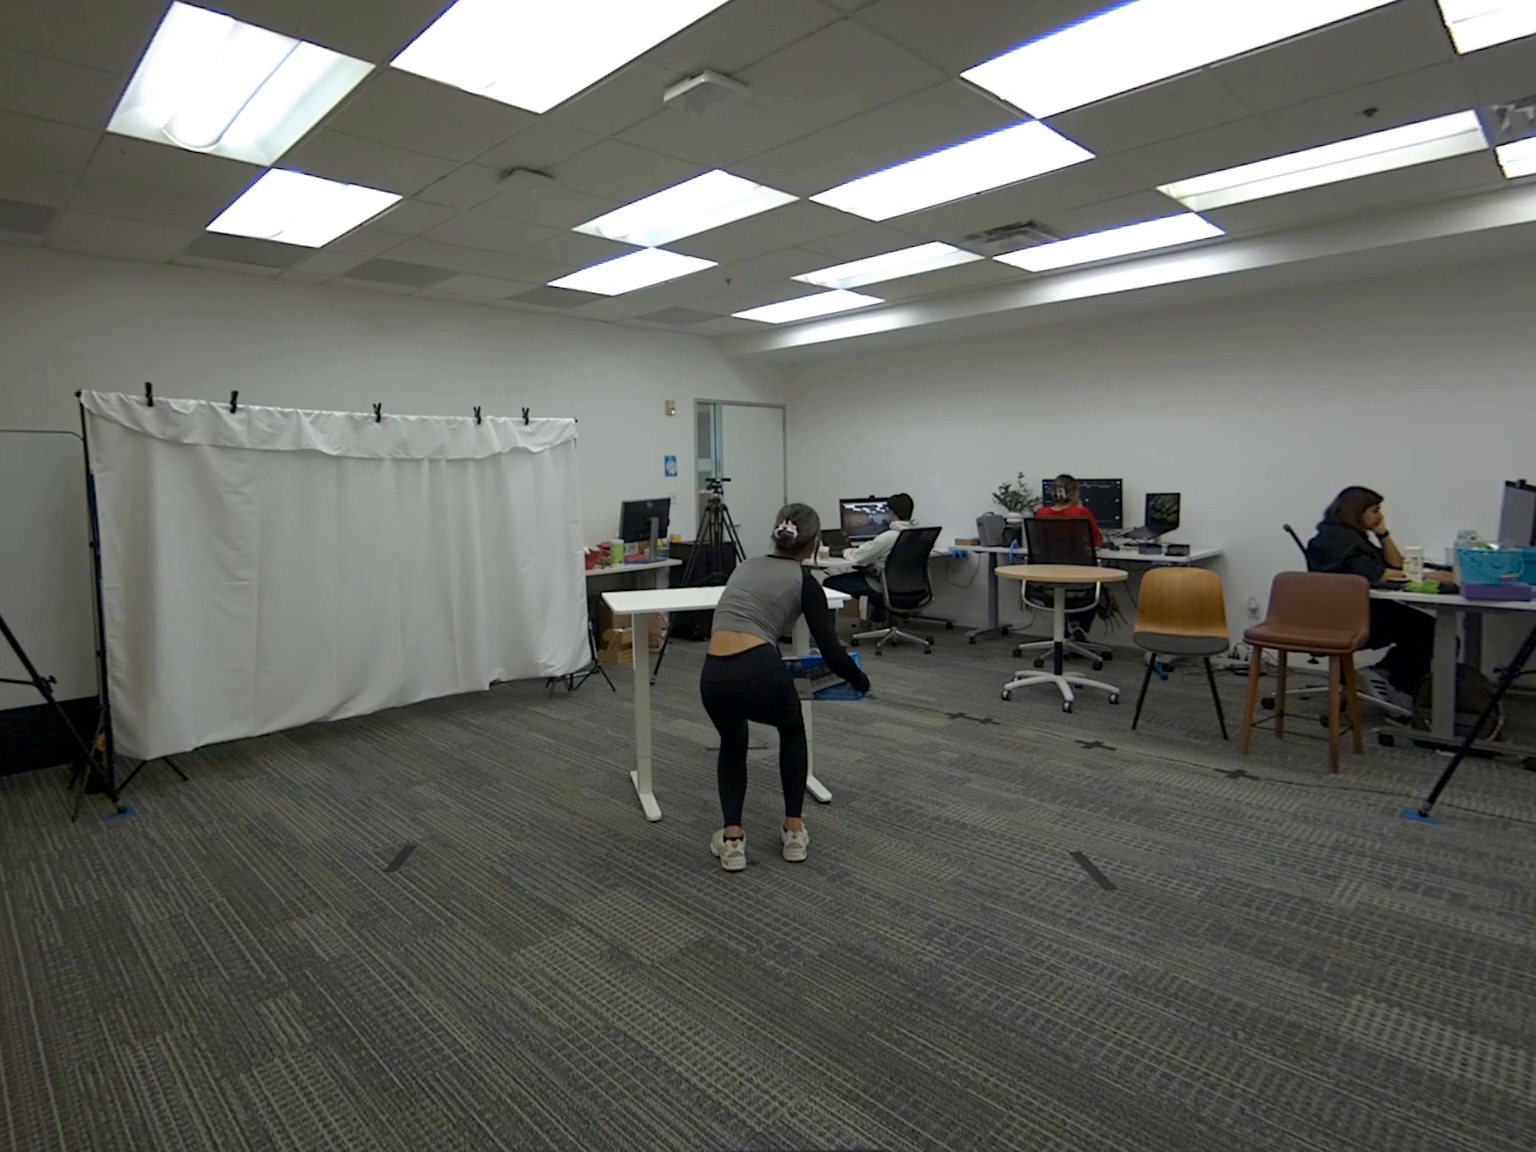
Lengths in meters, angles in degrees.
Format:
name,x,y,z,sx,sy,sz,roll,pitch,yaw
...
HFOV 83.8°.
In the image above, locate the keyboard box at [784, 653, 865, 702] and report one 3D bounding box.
name,x,y,z,sx,sy,sz,roll,pitch,yaw
keyboard box,0.203,0.414,3.418,0.058,0.176,0.446,-8,-2,-39
